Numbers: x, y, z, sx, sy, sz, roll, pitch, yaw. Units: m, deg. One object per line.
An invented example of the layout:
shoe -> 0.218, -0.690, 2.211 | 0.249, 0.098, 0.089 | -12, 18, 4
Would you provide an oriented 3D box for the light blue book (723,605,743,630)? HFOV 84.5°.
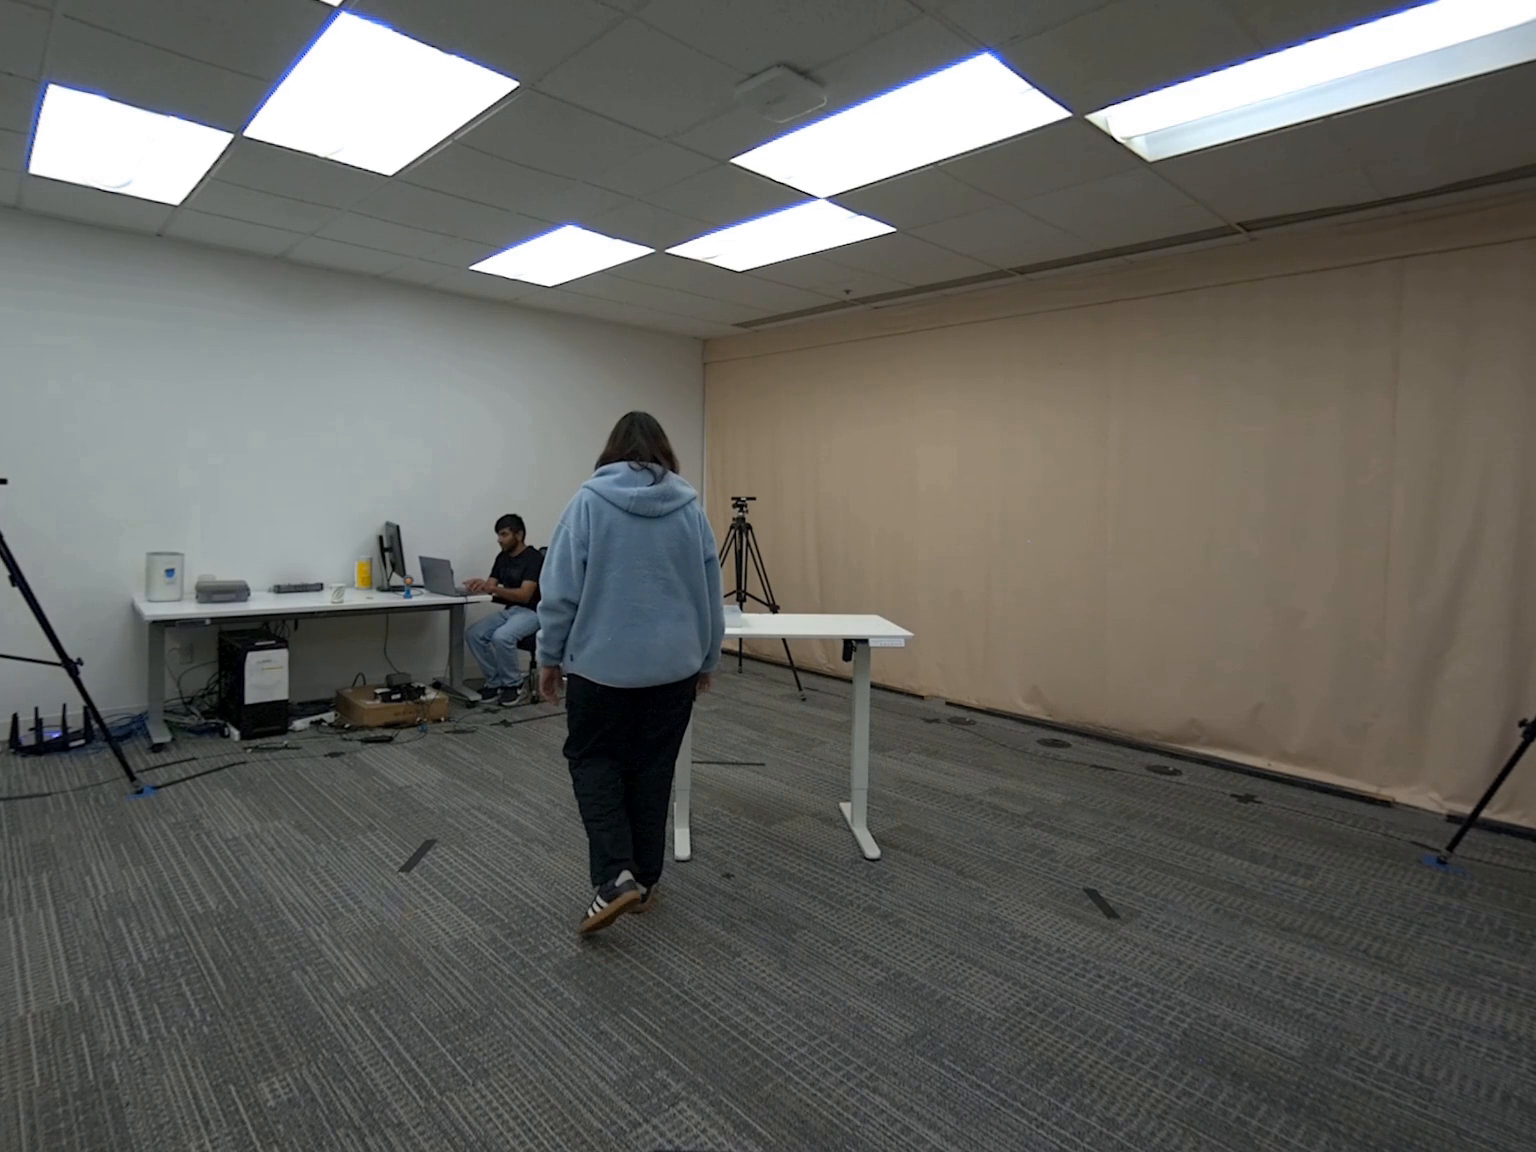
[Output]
light blue book -> -0.216, 0.167, 3.466 | 0.191, 0.059, 0.262 | 0, 5, -2
